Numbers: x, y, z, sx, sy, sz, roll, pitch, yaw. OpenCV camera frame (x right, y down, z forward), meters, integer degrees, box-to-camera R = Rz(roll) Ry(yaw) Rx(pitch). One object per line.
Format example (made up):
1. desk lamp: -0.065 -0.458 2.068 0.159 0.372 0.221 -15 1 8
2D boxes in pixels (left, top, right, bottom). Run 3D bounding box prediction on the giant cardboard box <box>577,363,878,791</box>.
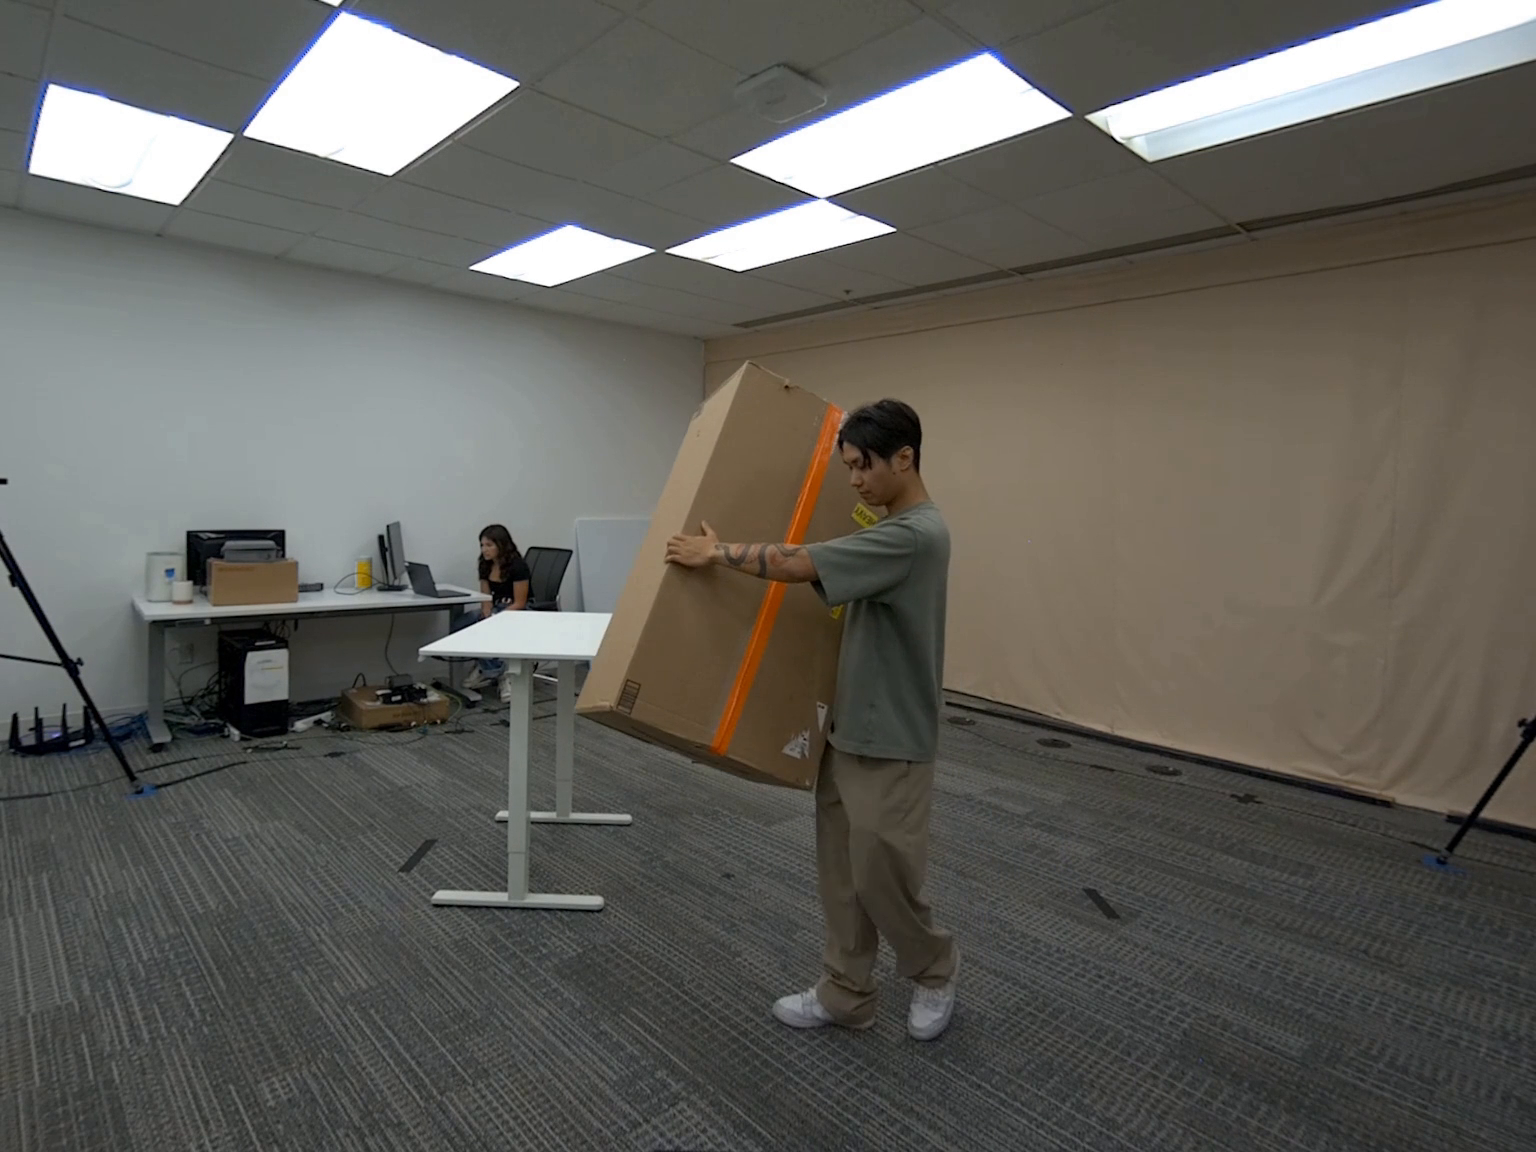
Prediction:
1. giant cardboard box: -0.059 0.013 2.417 0.567 1.034 0.431 26 -20 -19
